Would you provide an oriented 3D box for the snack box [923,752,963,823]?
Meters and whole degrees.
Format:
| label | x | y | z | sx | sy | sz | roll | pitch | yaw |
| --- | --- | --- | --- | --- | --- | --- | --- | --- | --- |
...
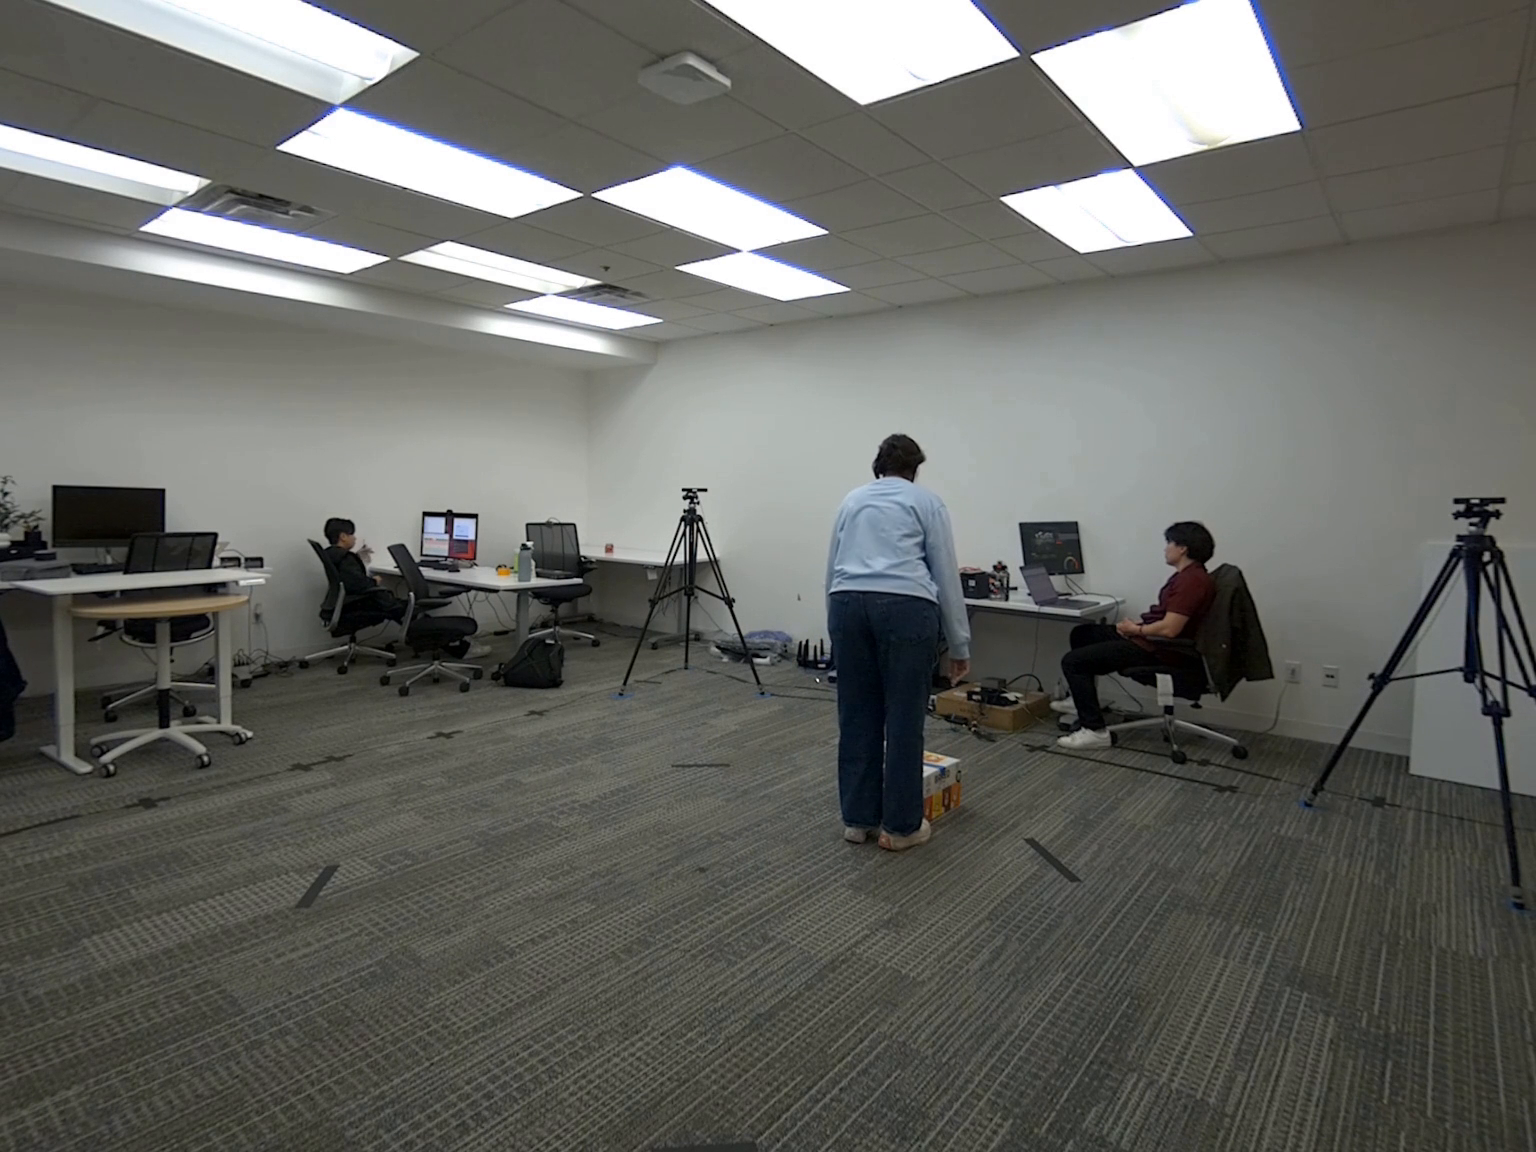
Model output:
| label | x | y | z | sx | sy | sz | roll | pitch | yaw |
| --- | --- | --- | --- | --- | --- | --- | --- | --- | --- |
| snack box | 0.592 | 0.911 | 3.823 | 0.419 | 0.205 | 0.330 | 6 | 6 | 40 |
